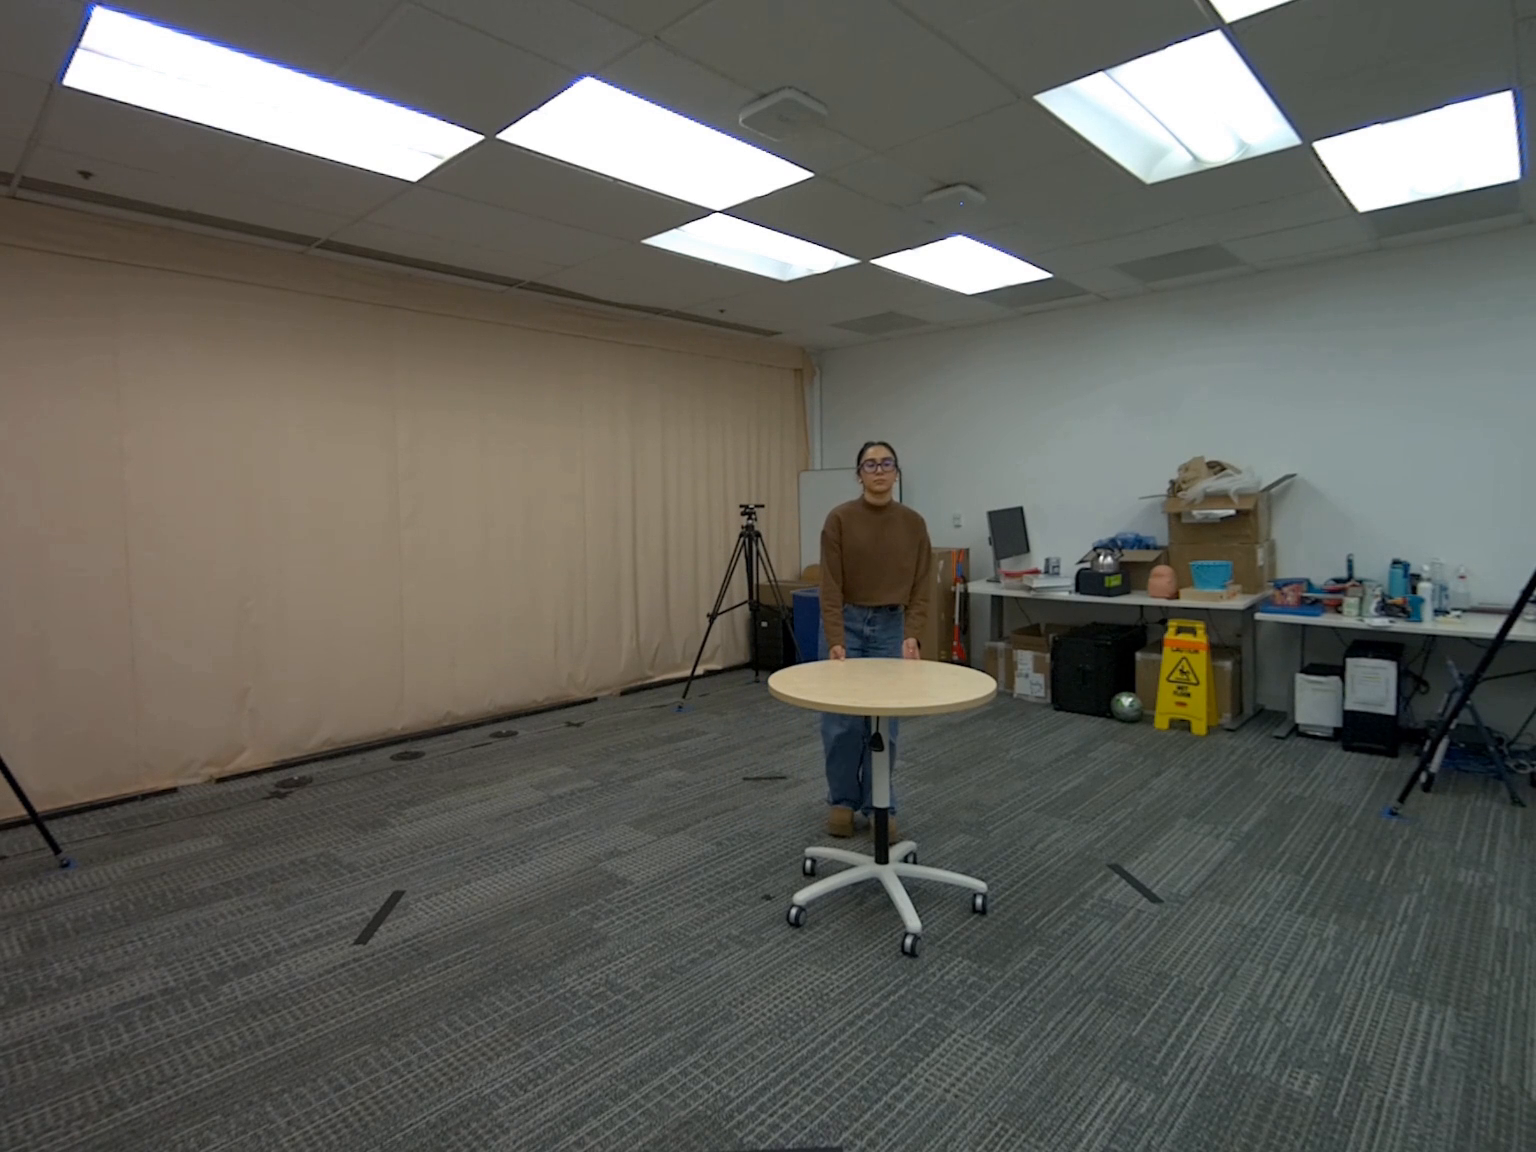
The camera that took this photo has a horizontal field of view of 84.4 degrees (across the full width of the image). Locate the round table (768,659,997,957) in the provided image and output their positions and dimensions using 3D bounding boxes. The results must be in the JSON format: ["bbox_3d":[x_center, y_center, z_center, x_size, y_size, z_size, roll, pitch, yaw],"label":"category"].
[{"bbox_3d":[0.390,0.749,2.912,0.763,0.792,0.767,-1,4,-2],"label":"round table"}]
